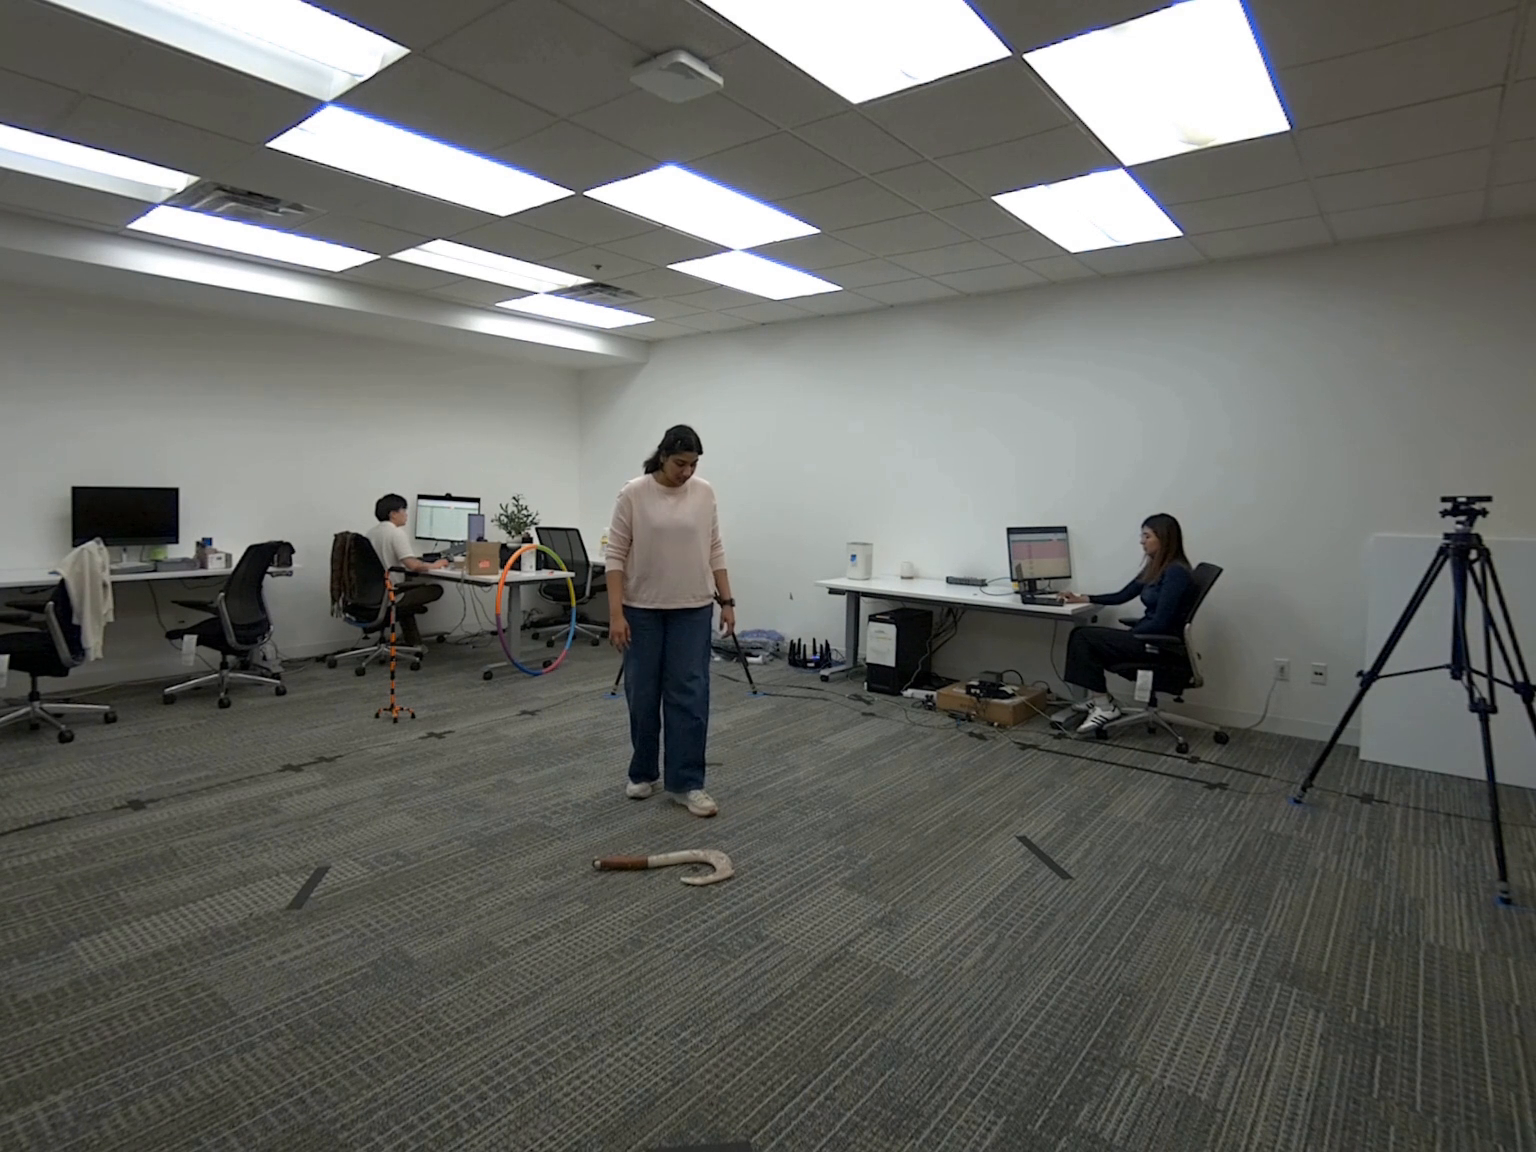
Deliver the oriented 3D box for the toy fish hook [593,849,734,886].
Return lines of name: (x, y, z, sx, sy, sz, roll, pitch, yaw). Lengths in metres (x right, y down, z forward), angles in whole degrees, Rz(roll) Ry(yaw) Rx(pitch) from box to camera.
toy fish hook: (-0.389, 1.045, 3.059, 0.502, 0.048, 0.227, -1, 5, -8)
